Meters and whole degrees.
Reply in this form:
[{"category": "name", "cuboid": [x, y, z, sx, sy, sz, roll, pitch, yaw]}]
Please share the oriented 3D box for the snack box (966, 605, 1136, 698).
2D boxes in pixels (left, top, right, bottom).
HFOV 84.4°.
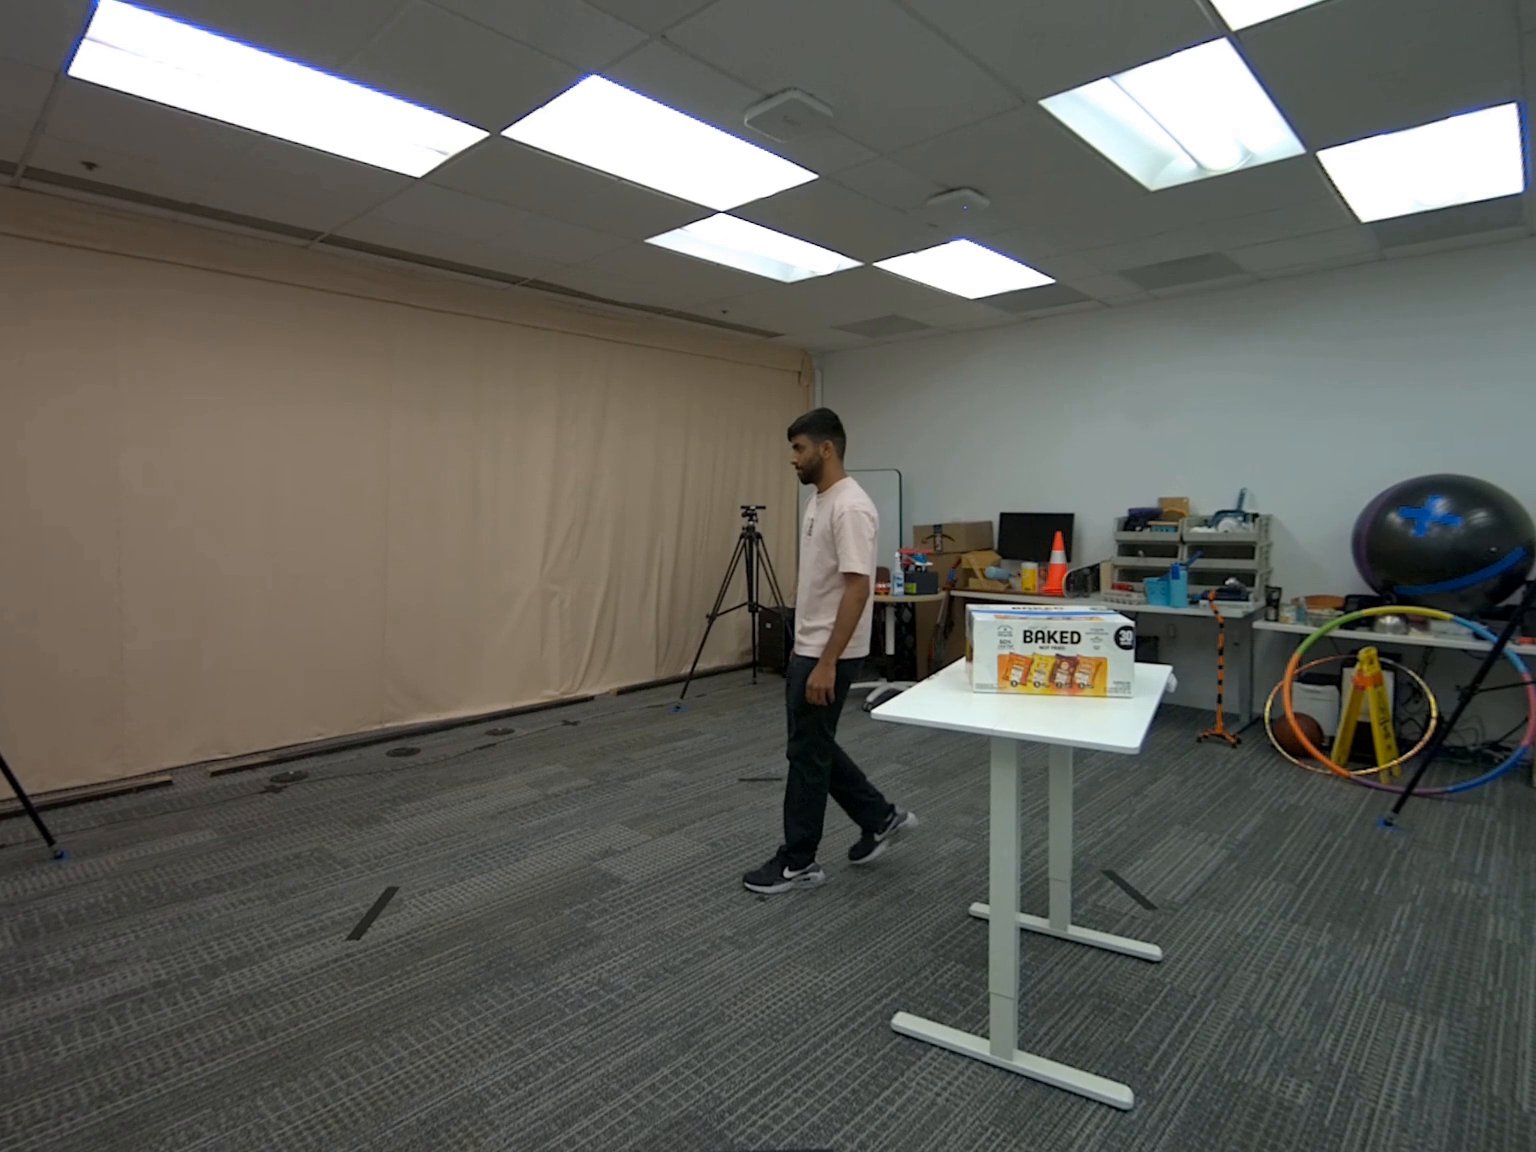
[{"category": "snack box", "cuboid": [0.785, 0.202, 2.407, 0.411, 0.205, 0.337, 1, 5, 12]}]
